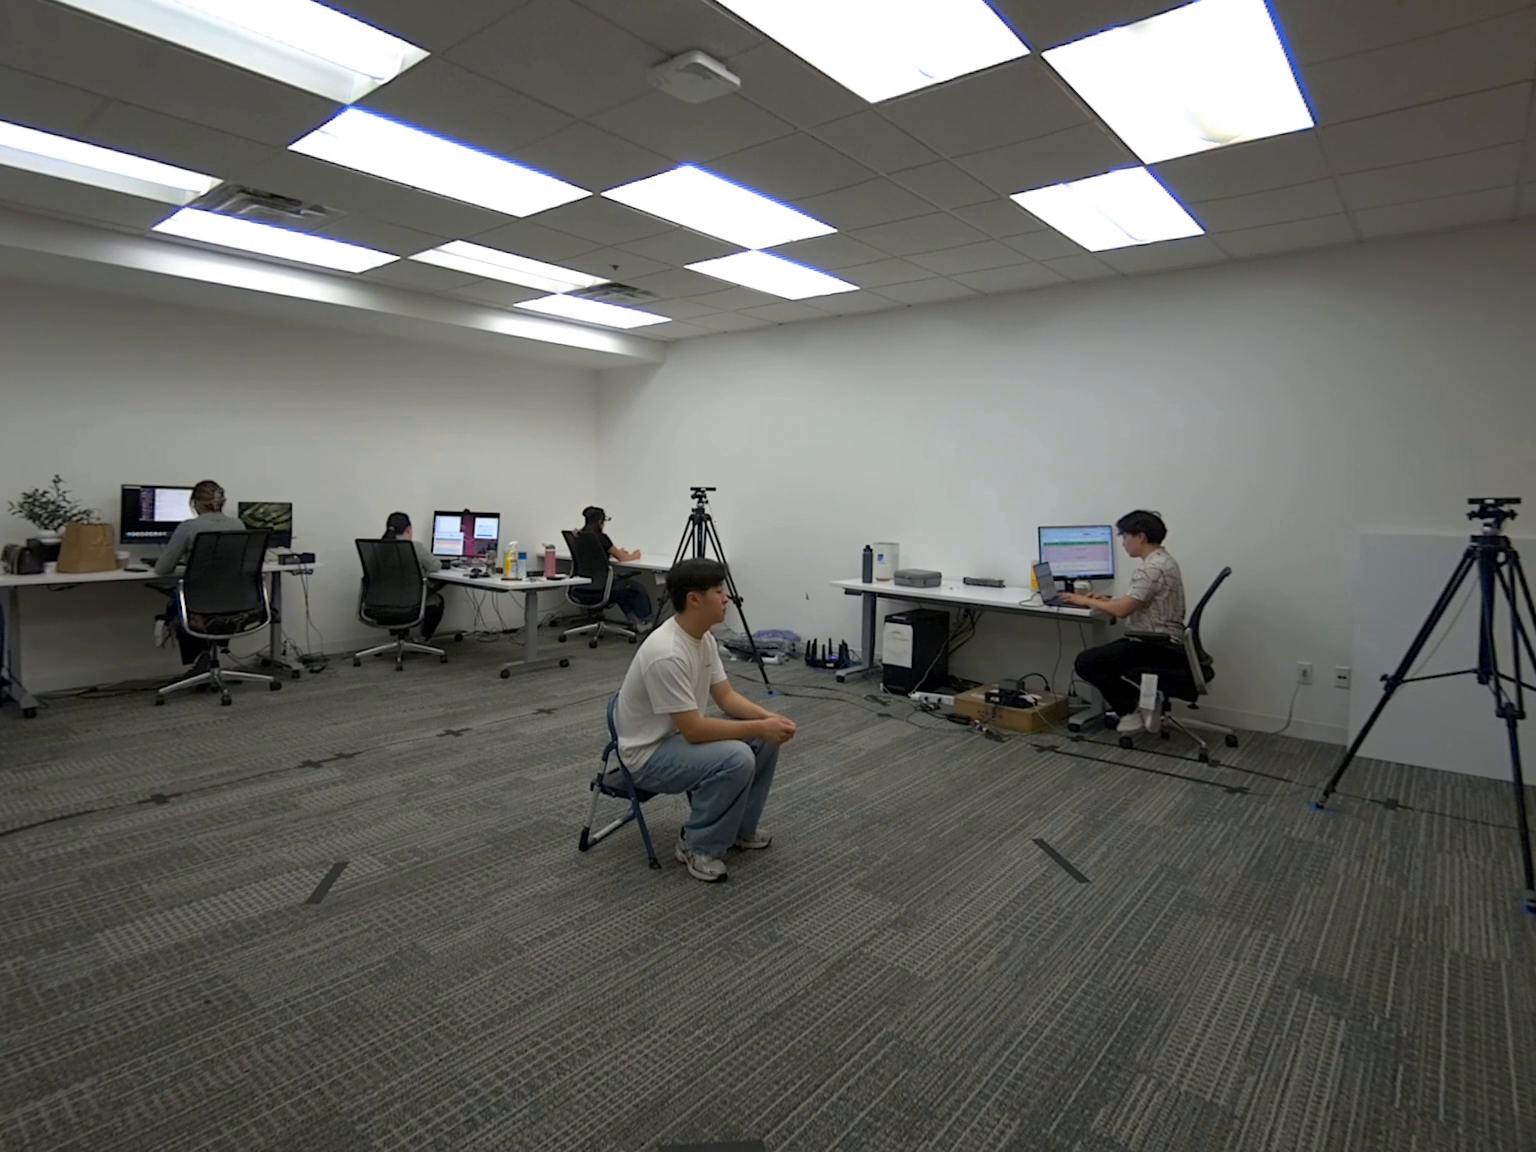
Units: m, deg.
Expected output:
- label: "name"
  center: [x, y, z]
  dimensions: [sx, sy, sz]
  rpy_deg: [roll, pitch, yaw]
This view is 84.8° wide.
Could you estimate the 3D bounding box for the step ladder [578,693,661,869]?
- label: "step ladder"
  center: [-0.501, 0.738, 3.347]
  dimensions: [0.357, 0.605, 0.421]
  rpy_deg: [2, 3, 22]
